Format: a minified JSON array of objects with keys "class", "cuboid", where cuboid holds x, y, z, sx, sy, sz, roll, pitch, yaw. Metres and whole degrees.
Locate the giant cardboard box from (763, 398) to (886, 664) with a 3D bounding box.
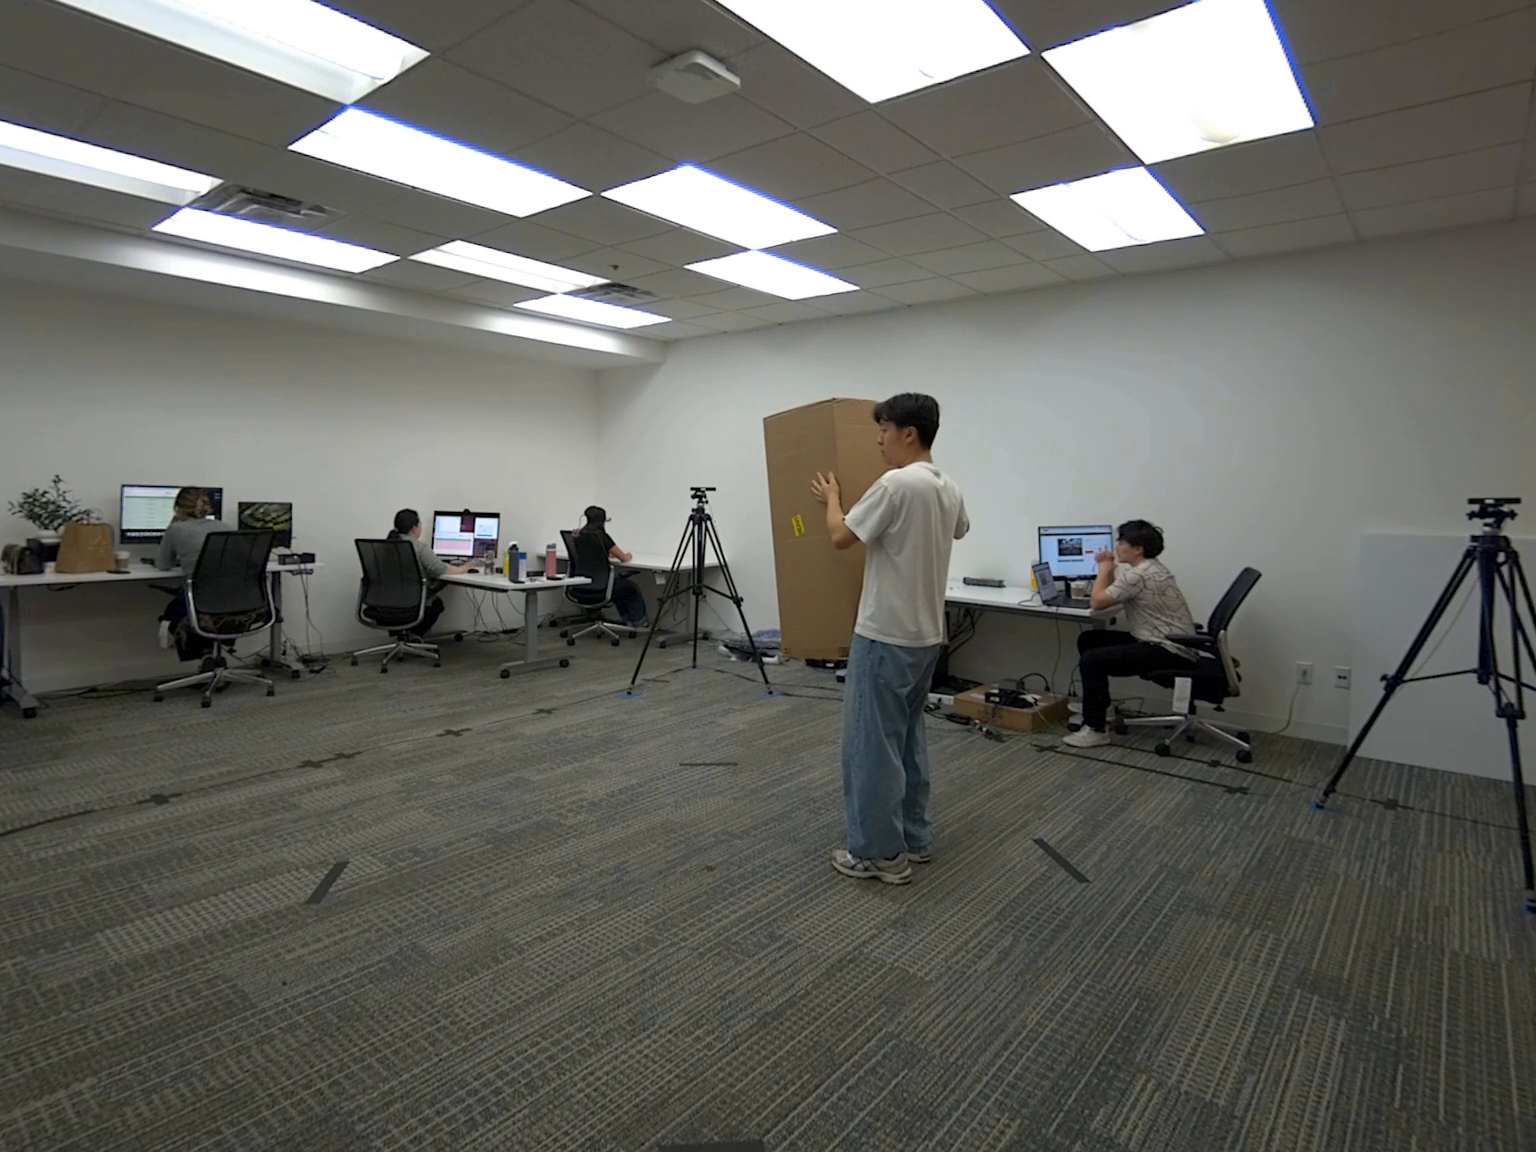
[{"class":"giant cardboard box","cuboid":[0.349,-0.198,3.621,0.560,1.029,0.438,-3,-3,-40]}]
